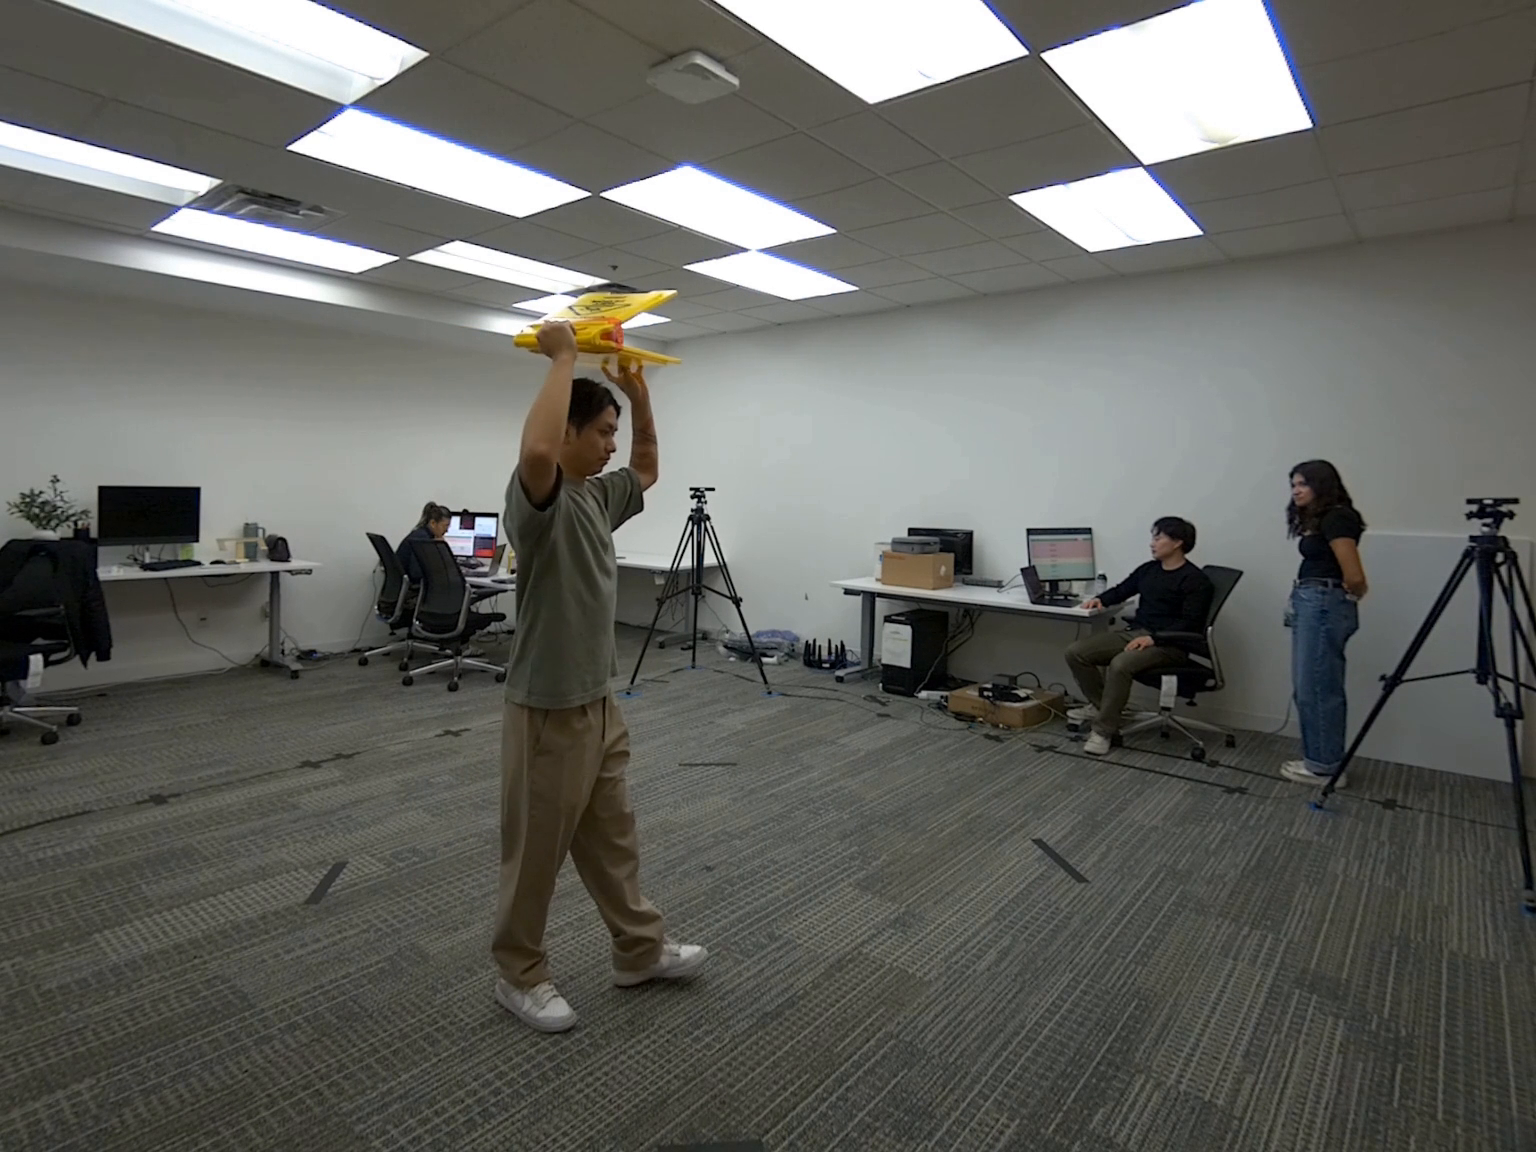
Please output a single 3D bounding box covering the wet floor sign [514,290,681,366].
[{"bbox_3d":[-0.447,-0.634,2.233,0.286,0.285,0.647,1,16,10],"label":"wet floor sign"}]
